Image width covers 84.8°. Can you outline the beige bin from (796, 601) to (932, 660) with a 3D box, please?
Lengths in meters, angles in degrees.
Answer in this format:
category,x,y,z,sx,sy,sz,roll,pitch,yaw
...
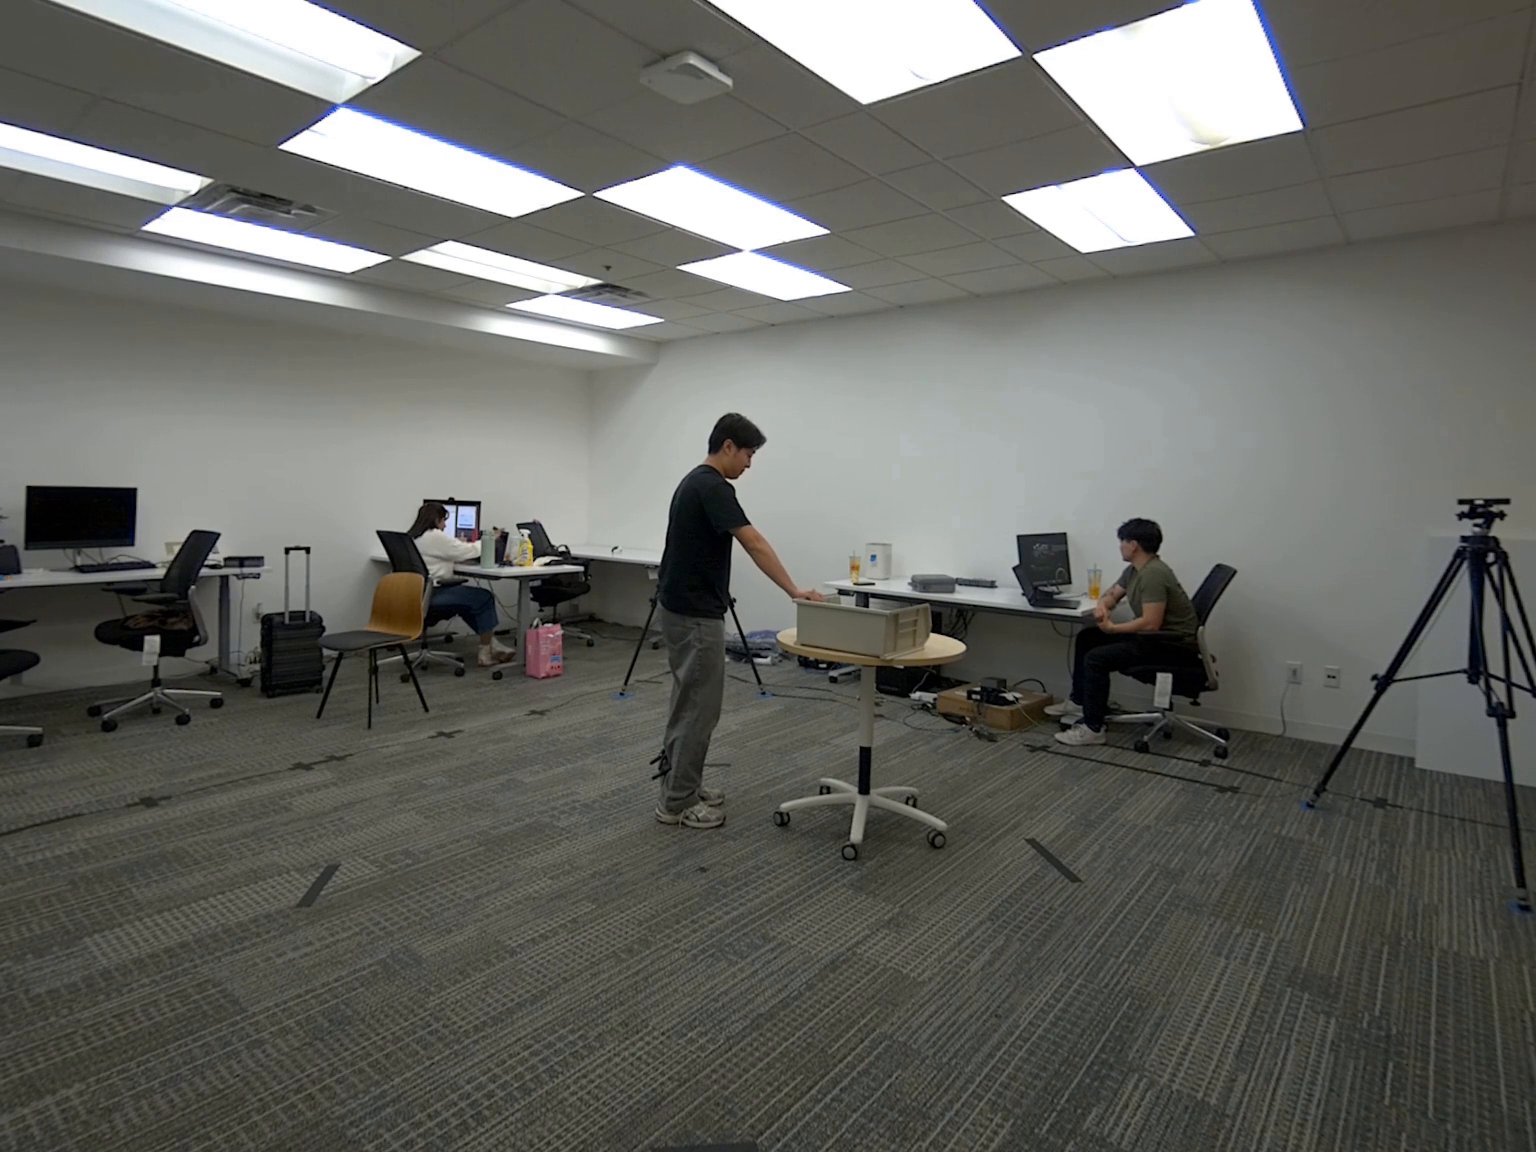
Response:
category,x,y,z,sx,sy,sz,roll,pitch,yaw
beige bin,0.360,0.186,3.350,0.437,0.188,0.367,6,8,38
